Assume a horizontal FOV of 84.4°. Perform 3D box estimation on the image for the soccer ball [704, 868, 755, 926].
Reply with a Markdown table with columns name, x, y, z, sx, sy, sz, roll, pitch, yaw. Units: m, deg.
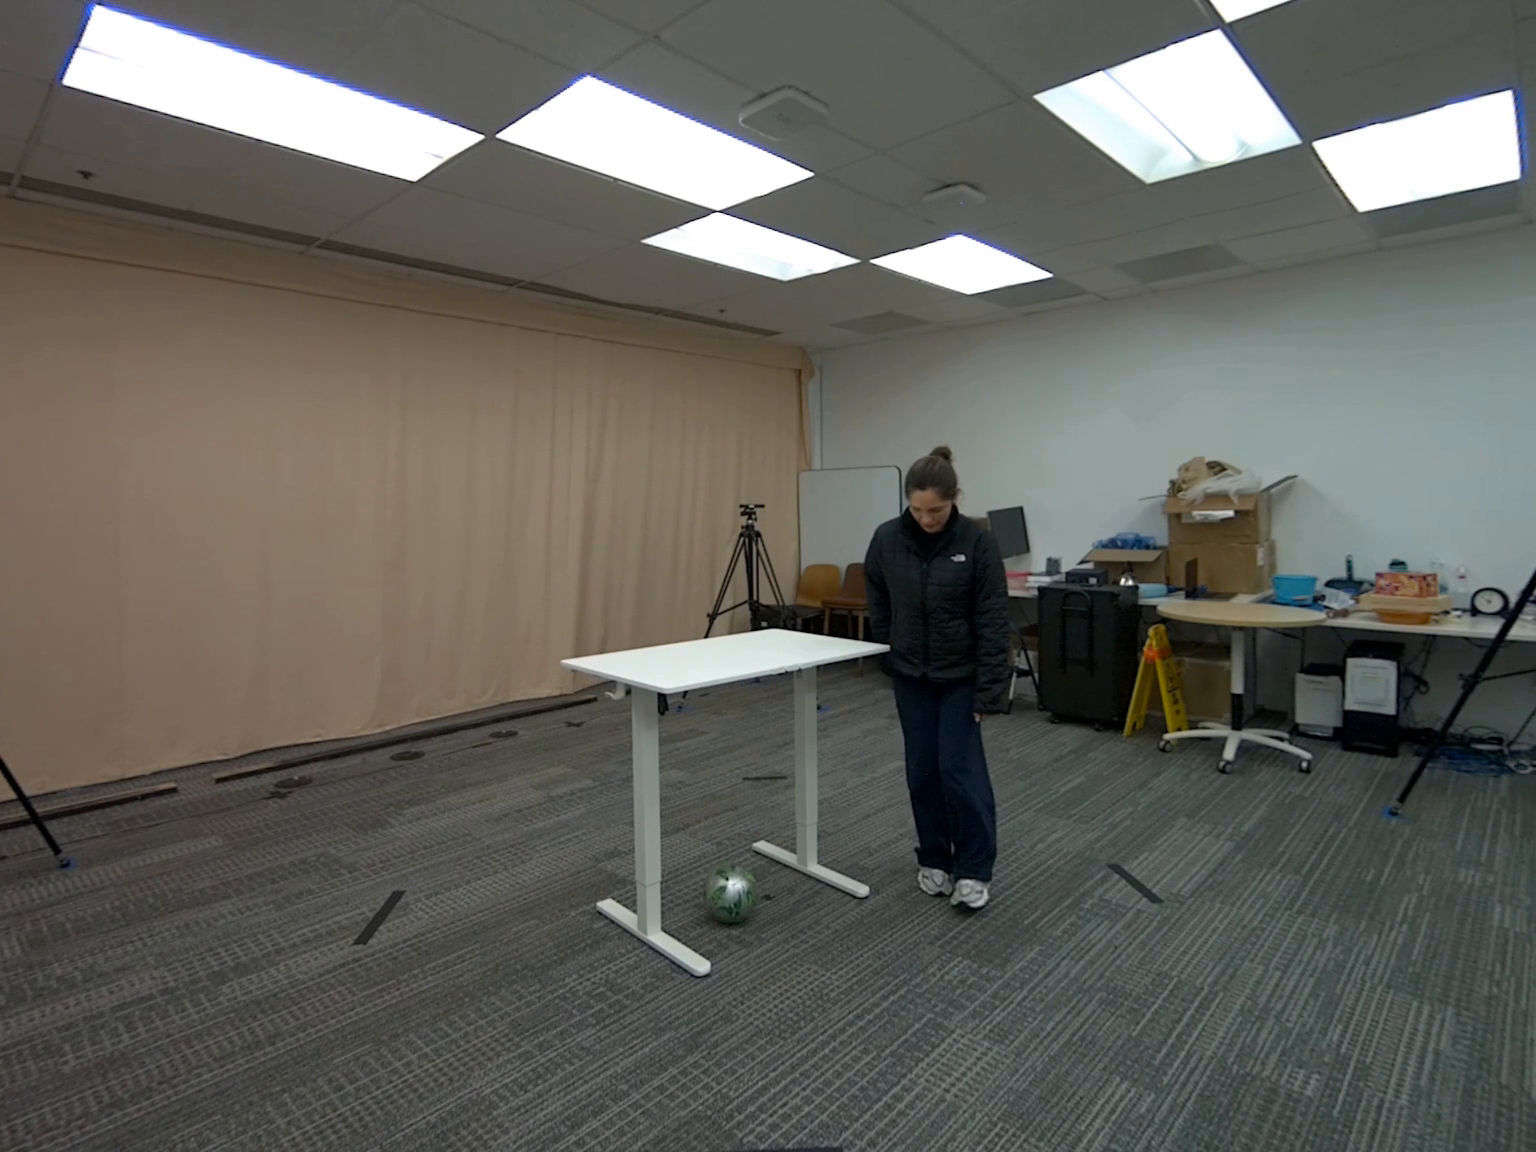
| name | x | y | z | sx | sy | sz | roll | pitch | yaw |
| --- | --- | --- | --- | --- | --- | --- | --- | --- | --- |
| soccer ball | -0.121 | 1.063 | 2.819 | 0.187 | 0.187 | 0.188 | -1 | 4 | -2 |
